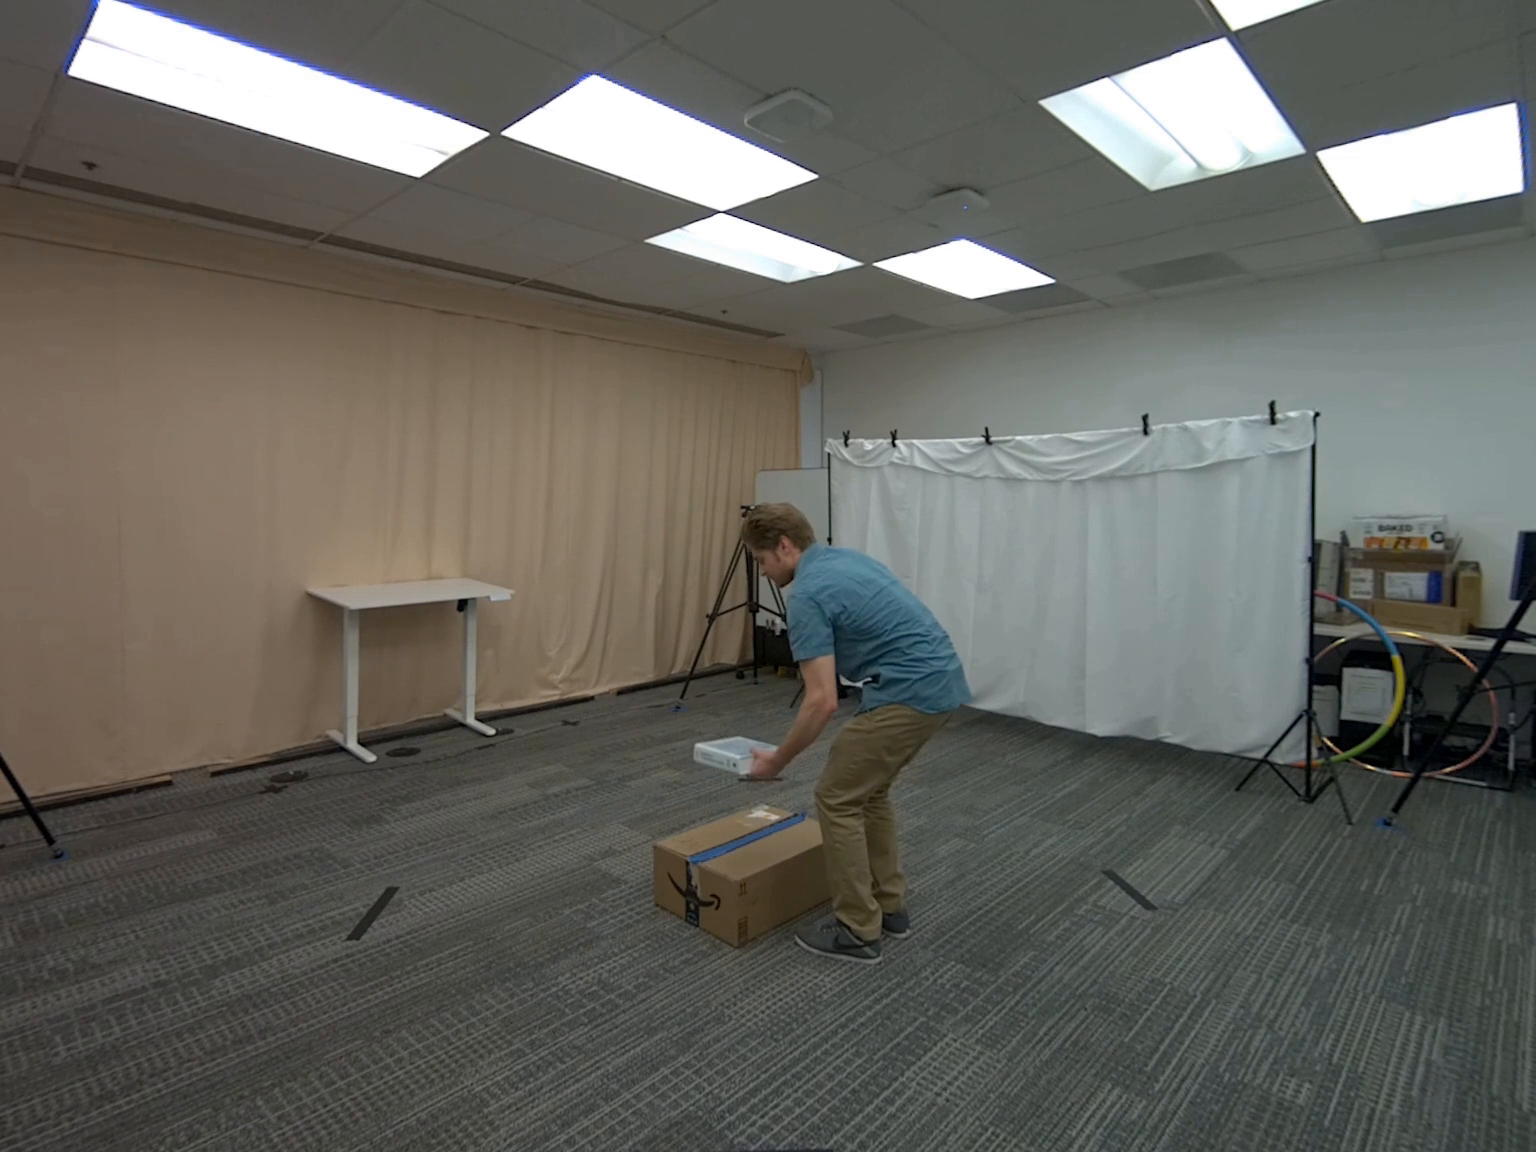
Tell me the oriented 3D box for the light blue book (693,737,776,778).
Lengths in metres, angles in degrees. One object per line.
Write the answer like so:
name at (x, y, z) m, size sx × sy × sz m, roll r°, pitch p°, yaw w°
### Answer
light blue book at (-0.091, 0.593, 2.784) m, size 0.185 × 0.059 × 0.269 m, roll -2°, pitch 0°, yaw -37°
